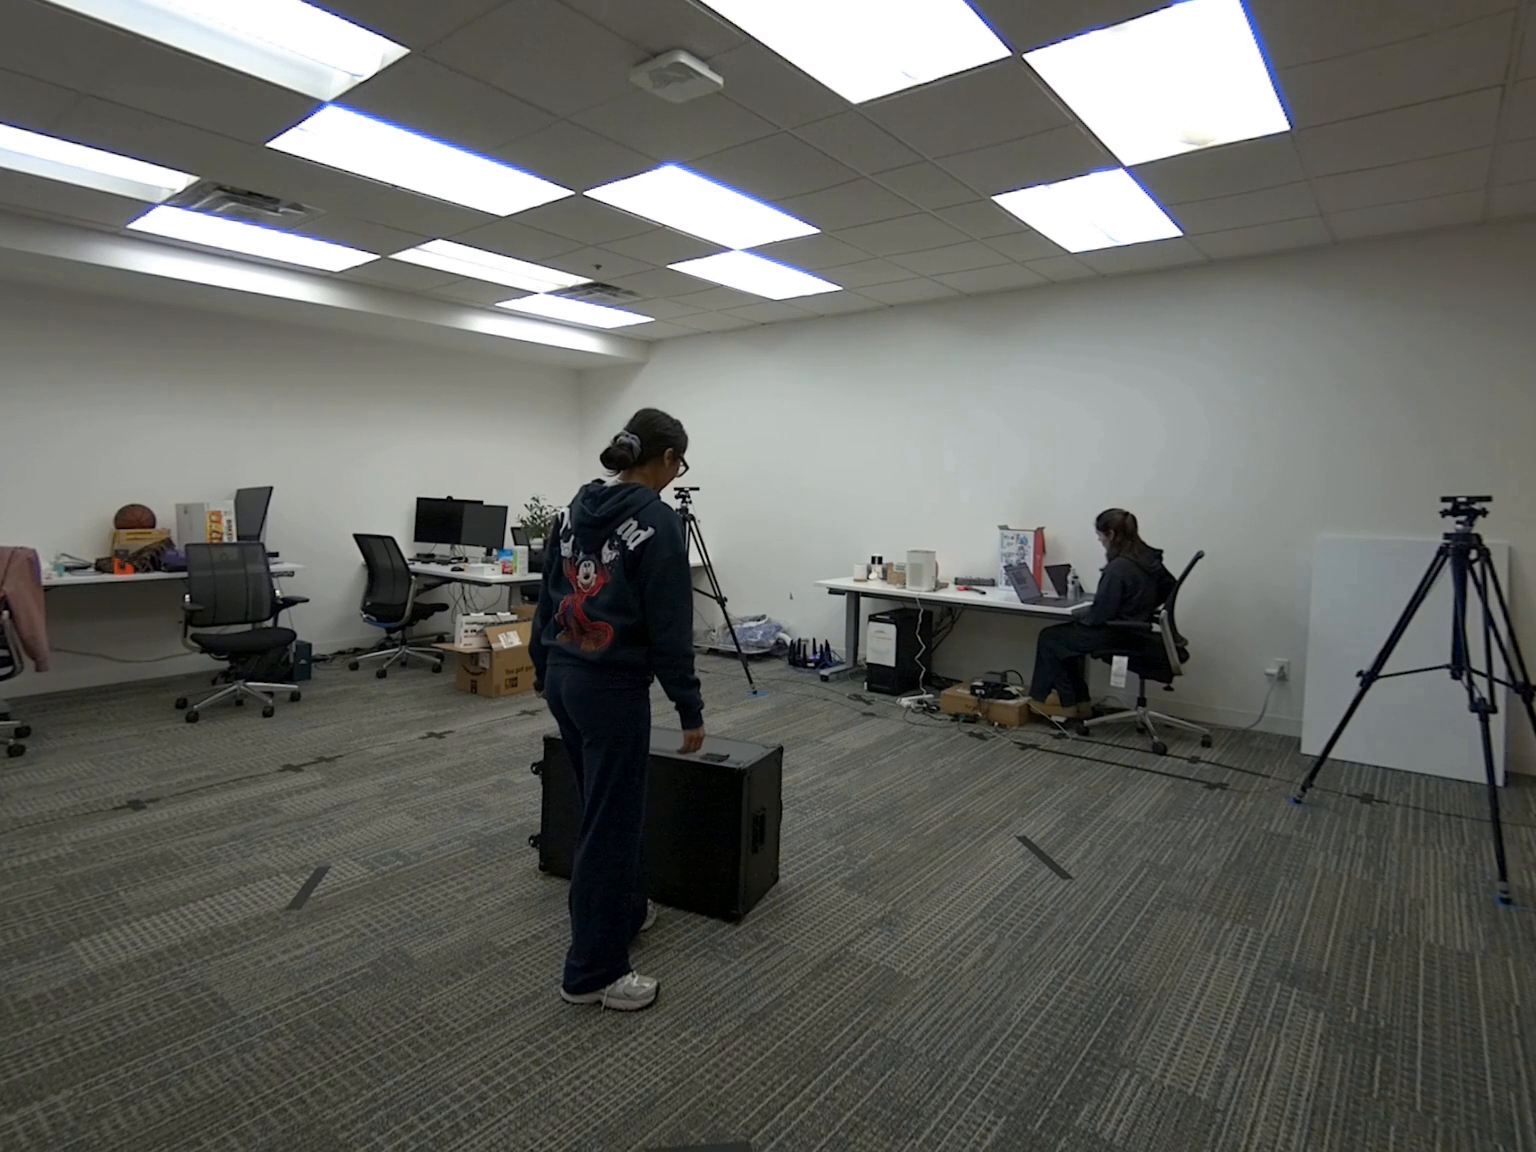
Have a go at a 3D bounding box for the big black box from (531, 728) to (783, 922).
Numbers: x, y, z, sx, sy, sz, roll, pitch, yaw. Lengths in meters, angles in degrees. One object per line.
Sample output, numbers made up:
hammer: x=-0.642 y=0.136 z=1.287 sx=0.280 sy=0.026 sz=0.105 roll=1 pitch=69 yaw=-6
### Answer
big black box: x=-0.415 y=0.814 z=3.047 sx=0.883 sy=0.521 sz=0.387 roll=3 pitch=1 yaw=23
